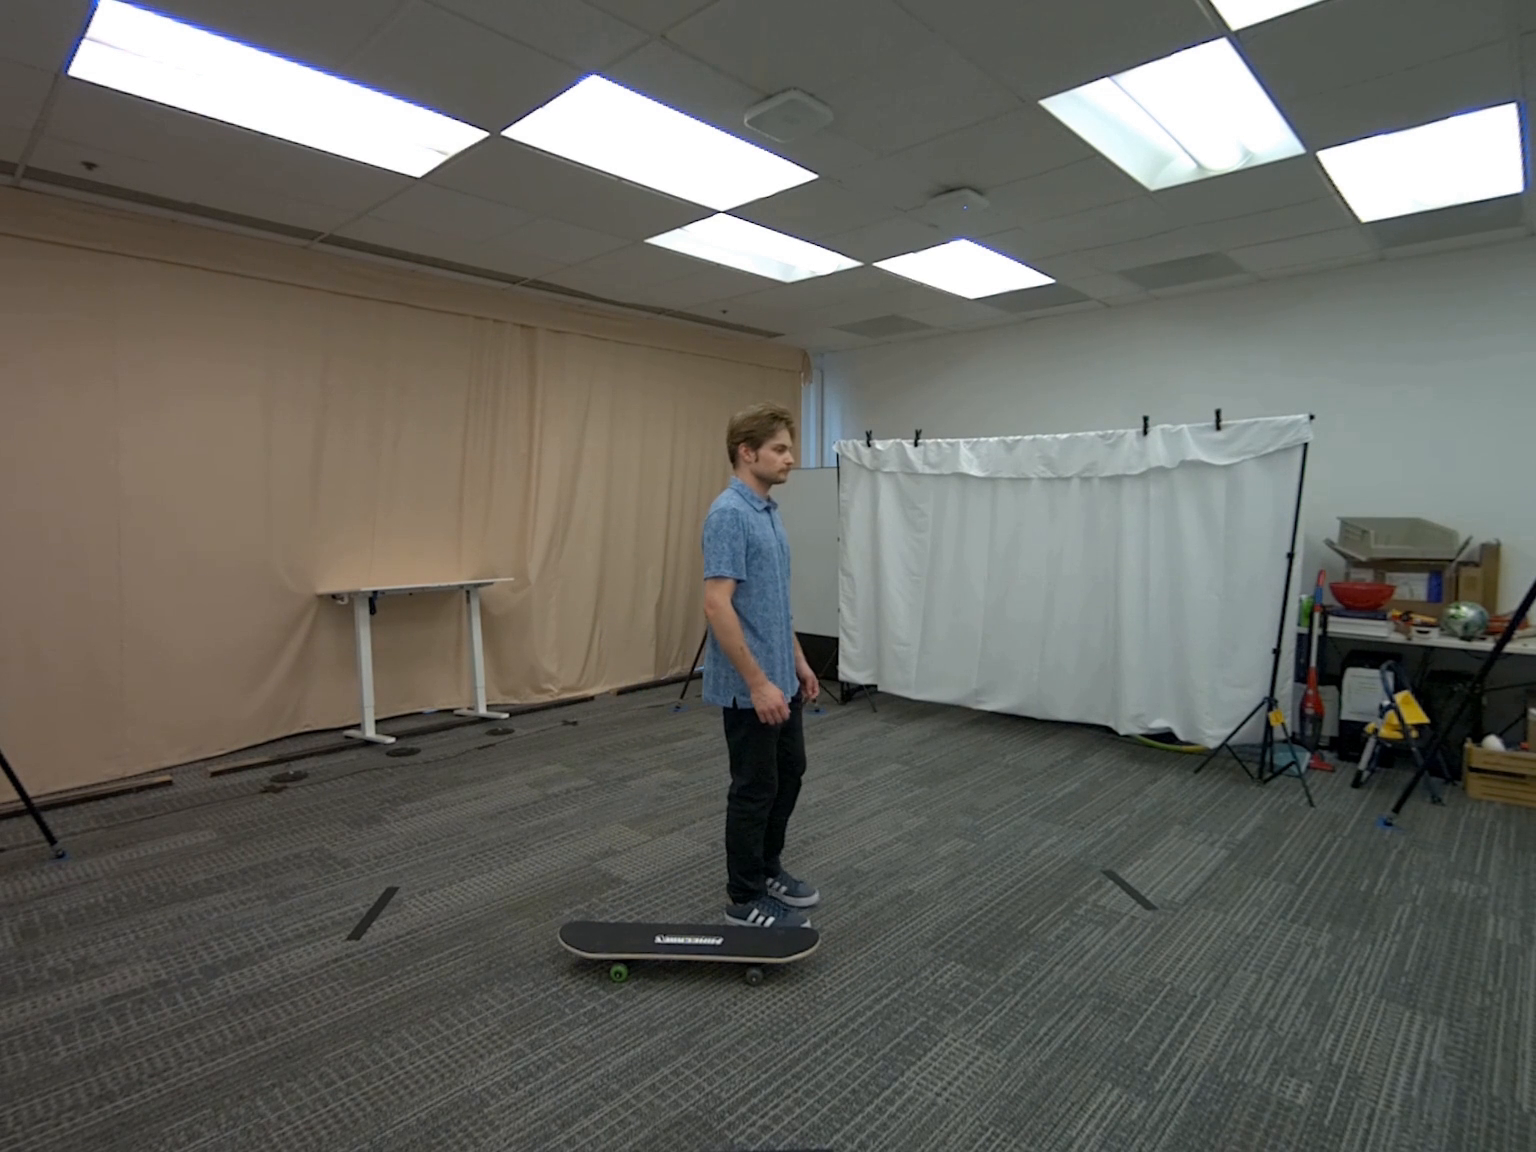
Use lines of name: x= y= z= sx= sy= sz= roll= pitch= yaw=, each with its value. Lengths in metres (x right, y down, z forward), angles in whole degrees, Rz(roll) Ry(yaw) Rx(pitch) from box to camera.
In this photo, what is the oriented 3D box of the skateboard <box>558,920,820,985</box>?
skateboard: x=-0.234 y=1.122 z=2.533 sx=0.788 sy=0.110 sz=0.193 roll=0 pitch=4 yaw=3
